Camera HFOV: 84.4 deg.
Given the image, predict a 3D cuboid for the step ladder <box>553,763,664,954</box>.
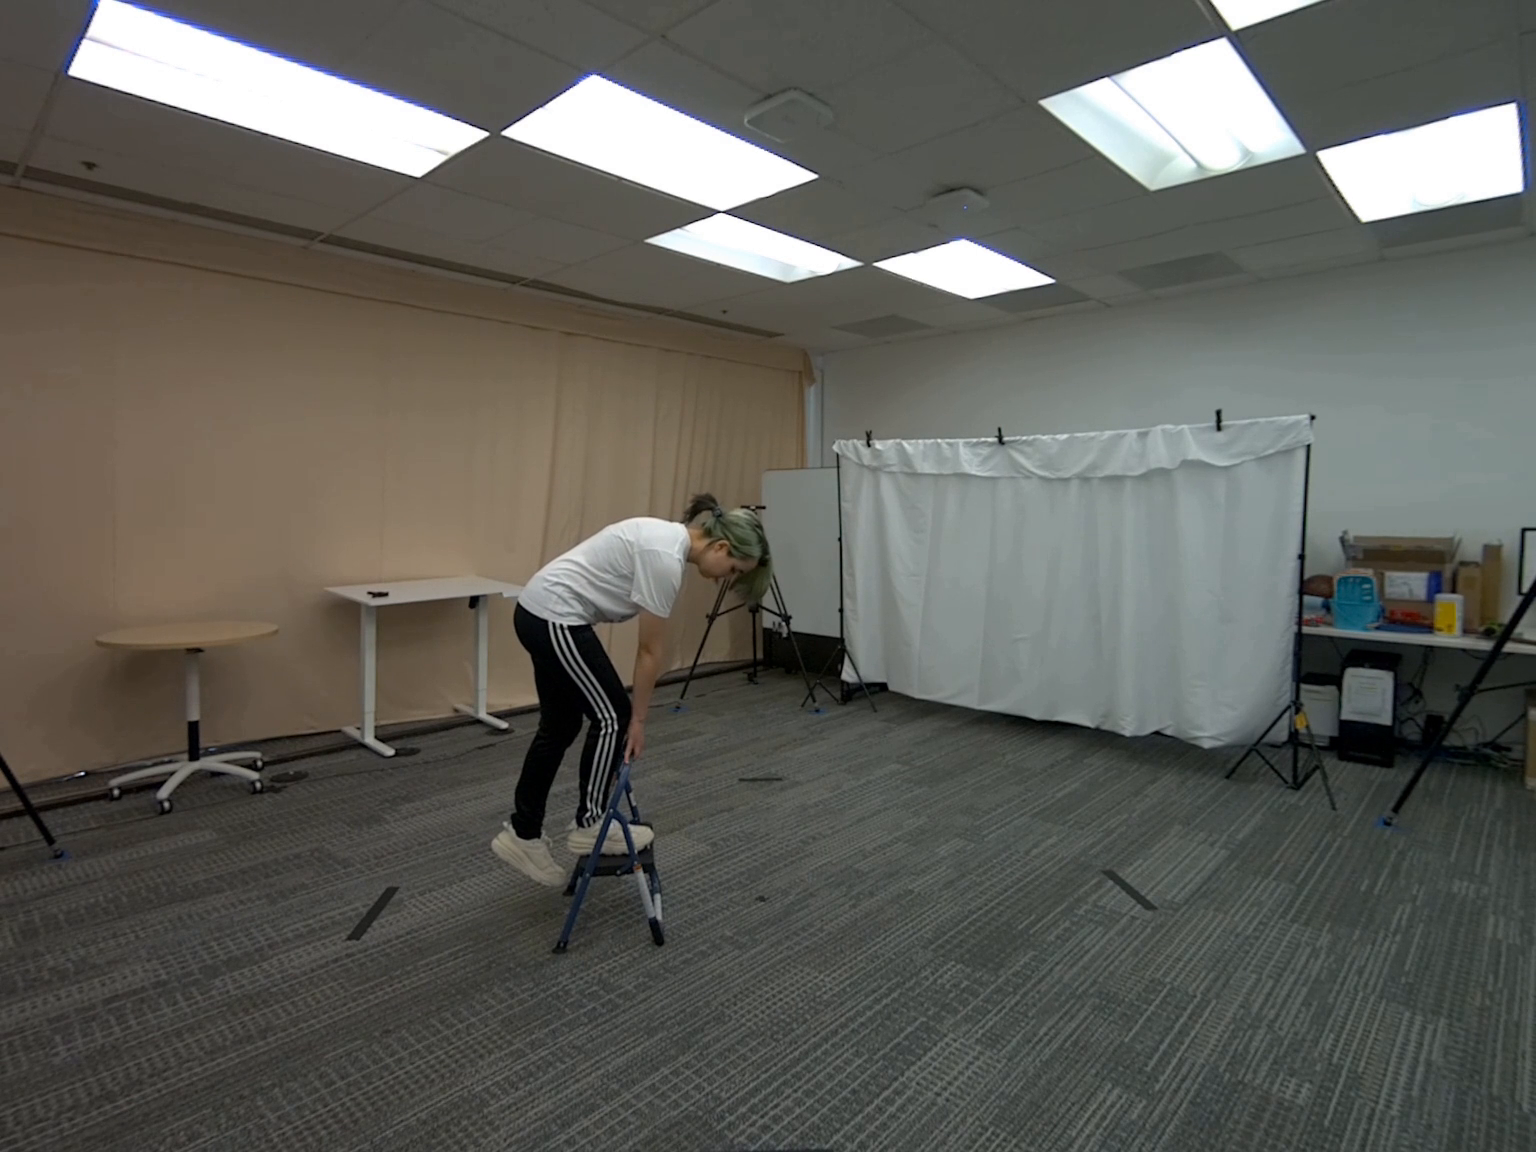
[{"bbox_3d":[-0.534,0.863,2.837,0.347,0.605,0.435,-1,3,-8],"label":"step ladder"}]
